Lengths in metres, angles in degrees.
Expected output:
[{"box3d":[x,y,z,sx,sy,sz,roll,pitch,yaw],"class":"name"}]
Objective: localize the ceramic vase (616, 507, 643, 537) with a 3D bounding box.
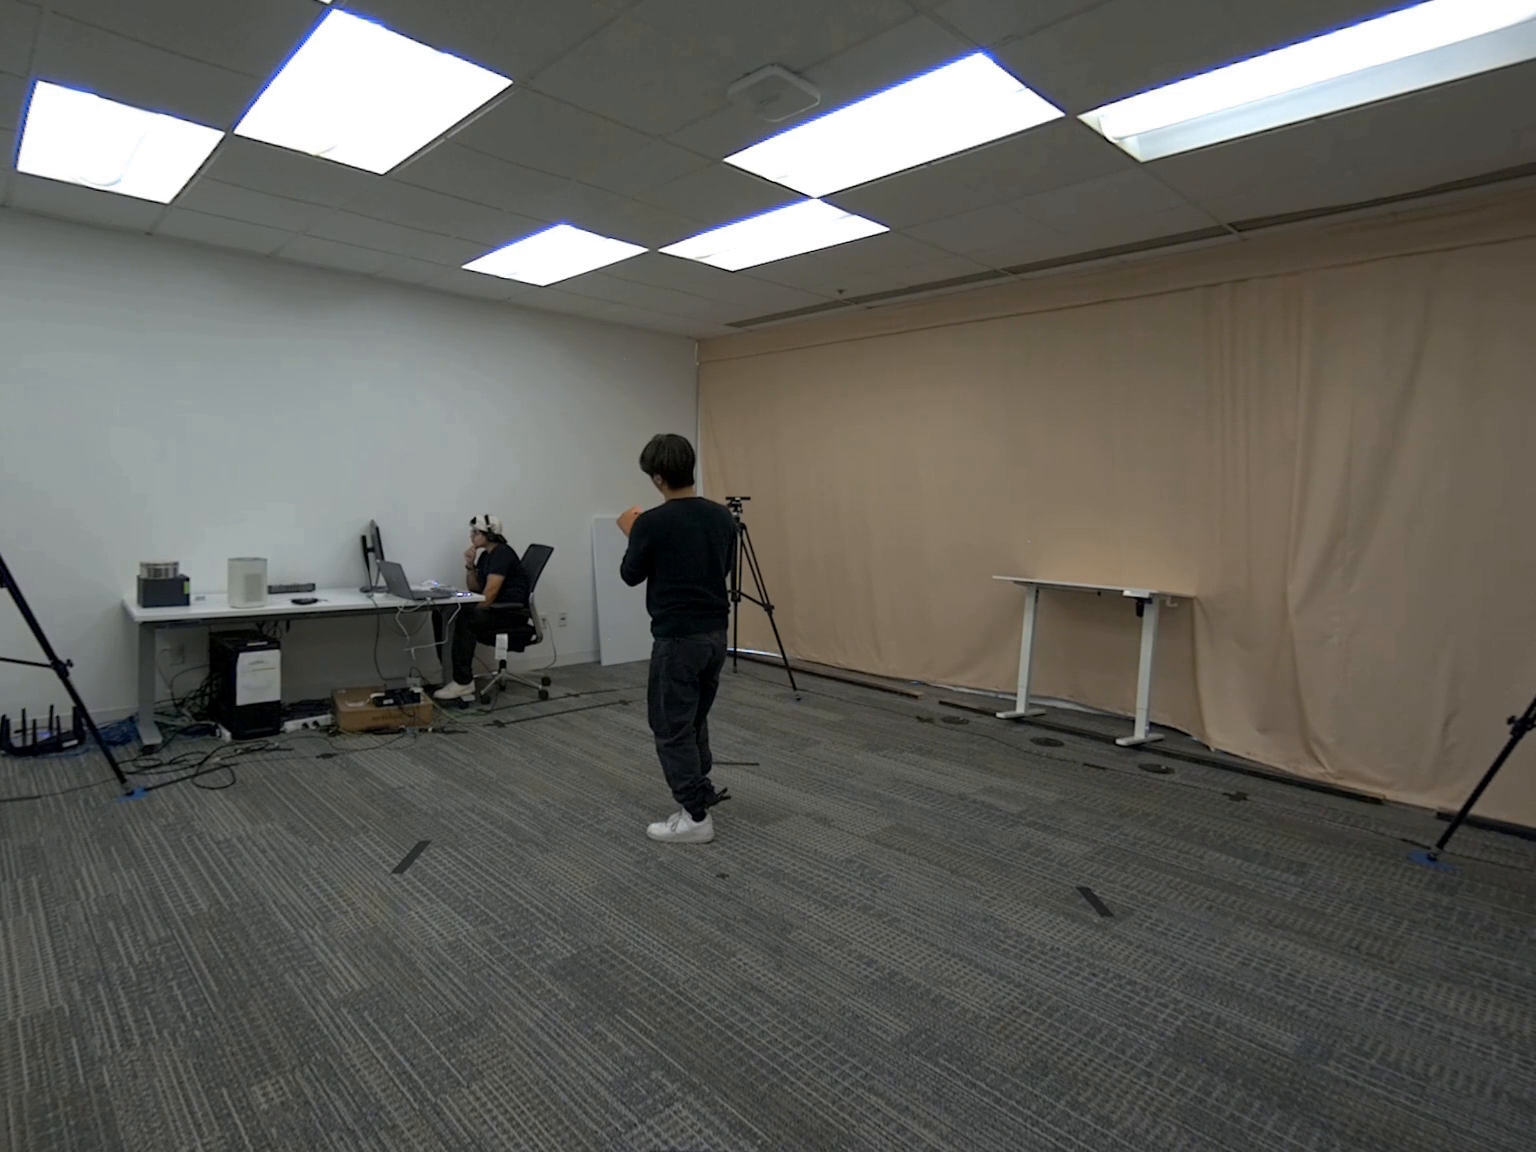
[{"box3d":[-0.580,-0.190,3.821,0.135,0.221,0.157,-38,-6,7],"class":"ceramic vase"}]
